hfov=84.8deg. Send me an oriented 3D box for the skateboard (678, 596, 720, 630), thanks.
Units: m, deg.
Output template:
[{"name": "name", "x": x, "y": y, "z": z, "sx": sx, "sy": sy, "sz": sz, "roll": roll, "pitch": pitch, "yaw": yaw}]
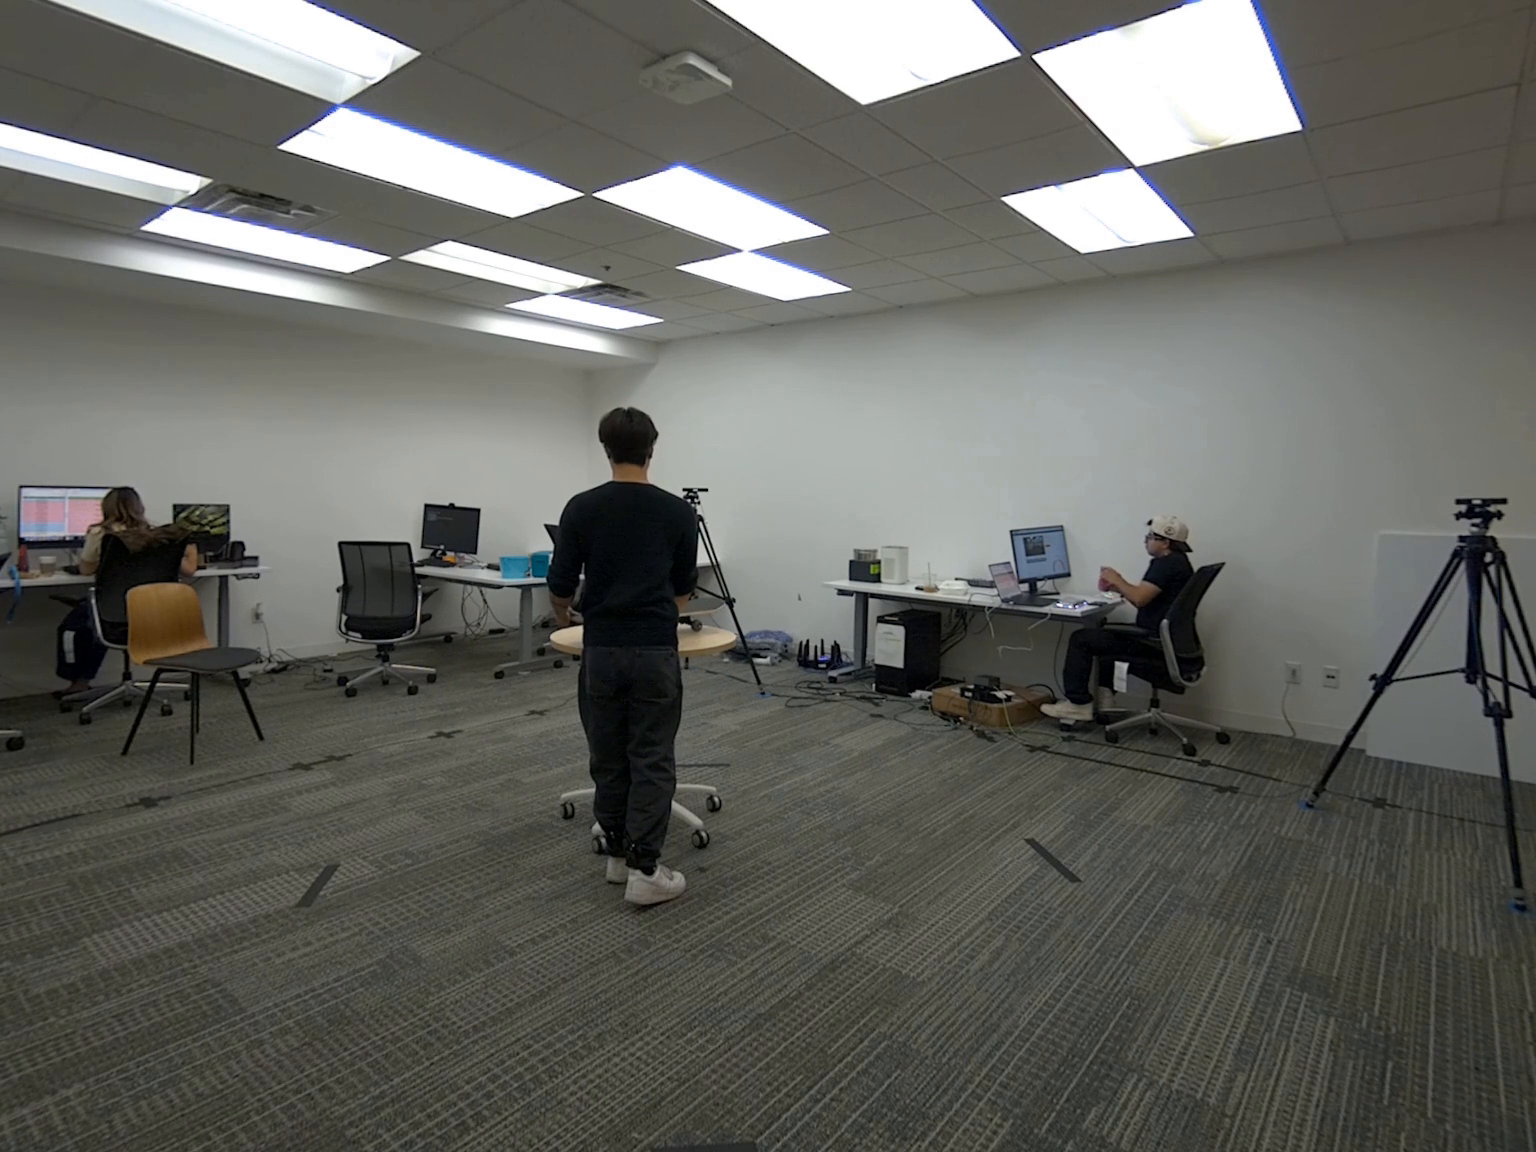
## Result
[{"name": "skateboard", "x": -0.503, "y": 0.183, "z": 3.511, "sx": 0.763, "sy": 0.109, "sz": 0.201, "roll": -7, "pitch": 15, "yaw": -42}]
